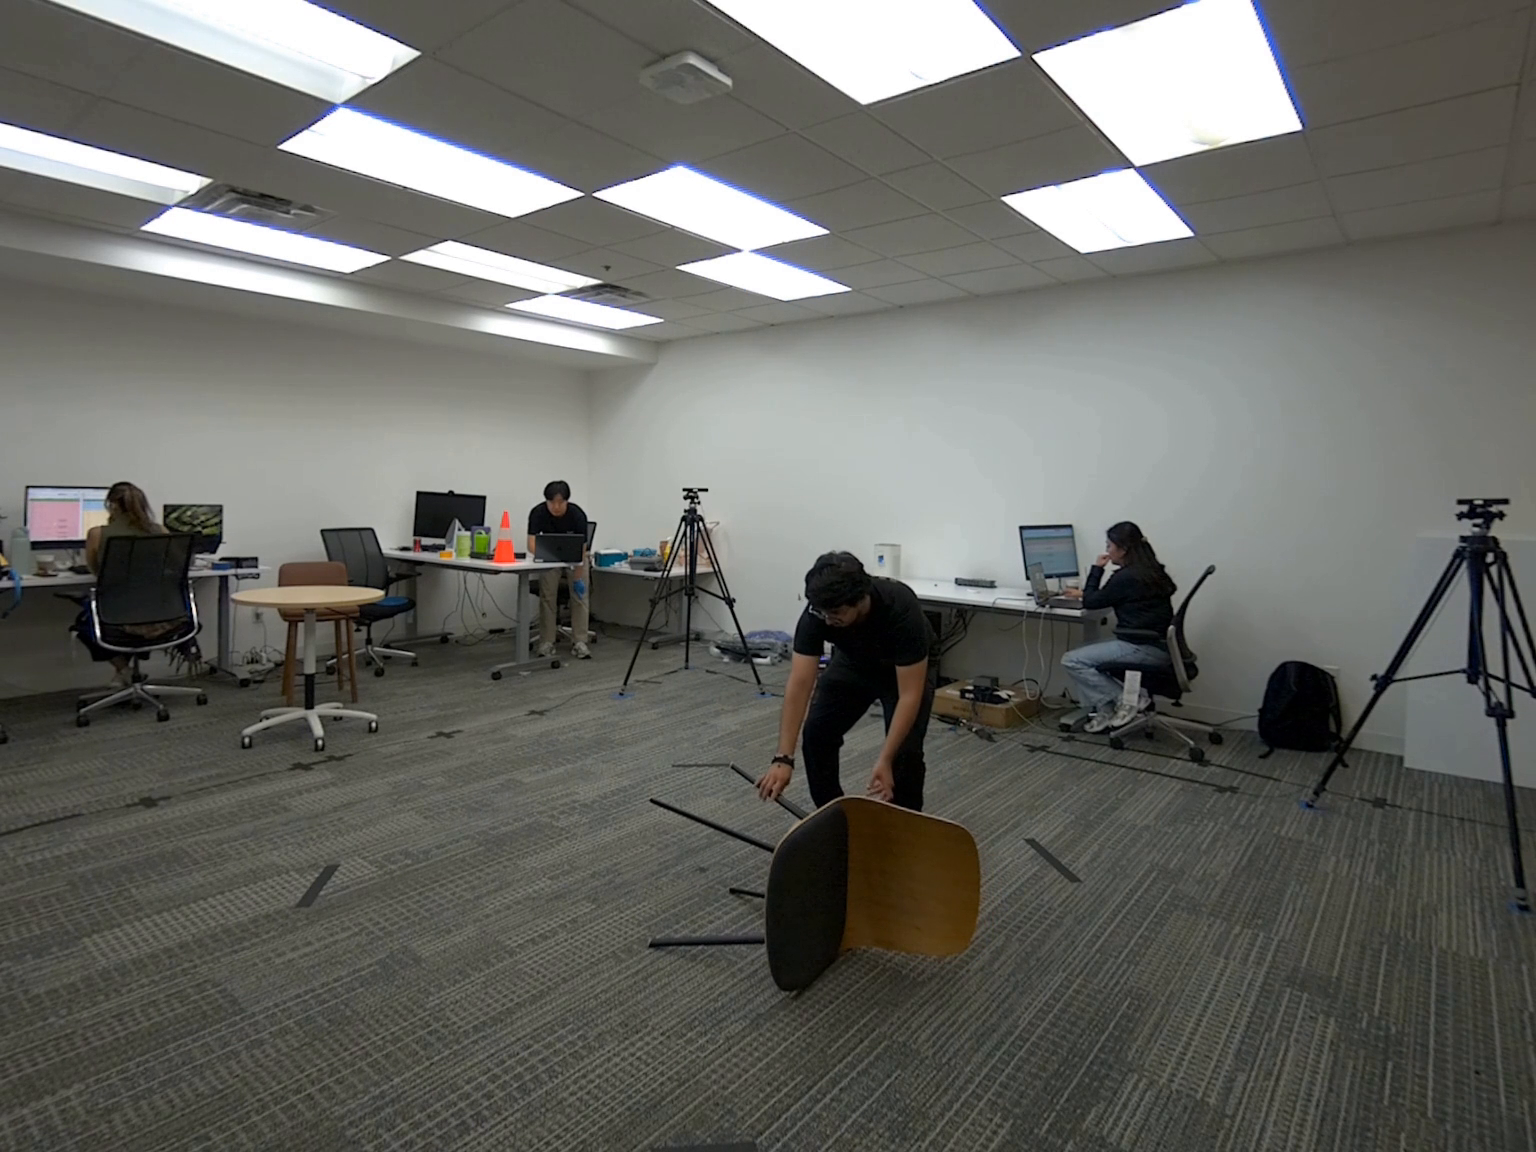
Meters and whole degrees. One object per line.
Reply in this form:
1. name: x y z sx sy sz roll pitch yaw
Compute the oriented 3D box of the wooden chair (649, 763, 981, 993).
1. wooden chair: 0.117 0.905 2.503 0.903 0.477 0.510 4 4 29
